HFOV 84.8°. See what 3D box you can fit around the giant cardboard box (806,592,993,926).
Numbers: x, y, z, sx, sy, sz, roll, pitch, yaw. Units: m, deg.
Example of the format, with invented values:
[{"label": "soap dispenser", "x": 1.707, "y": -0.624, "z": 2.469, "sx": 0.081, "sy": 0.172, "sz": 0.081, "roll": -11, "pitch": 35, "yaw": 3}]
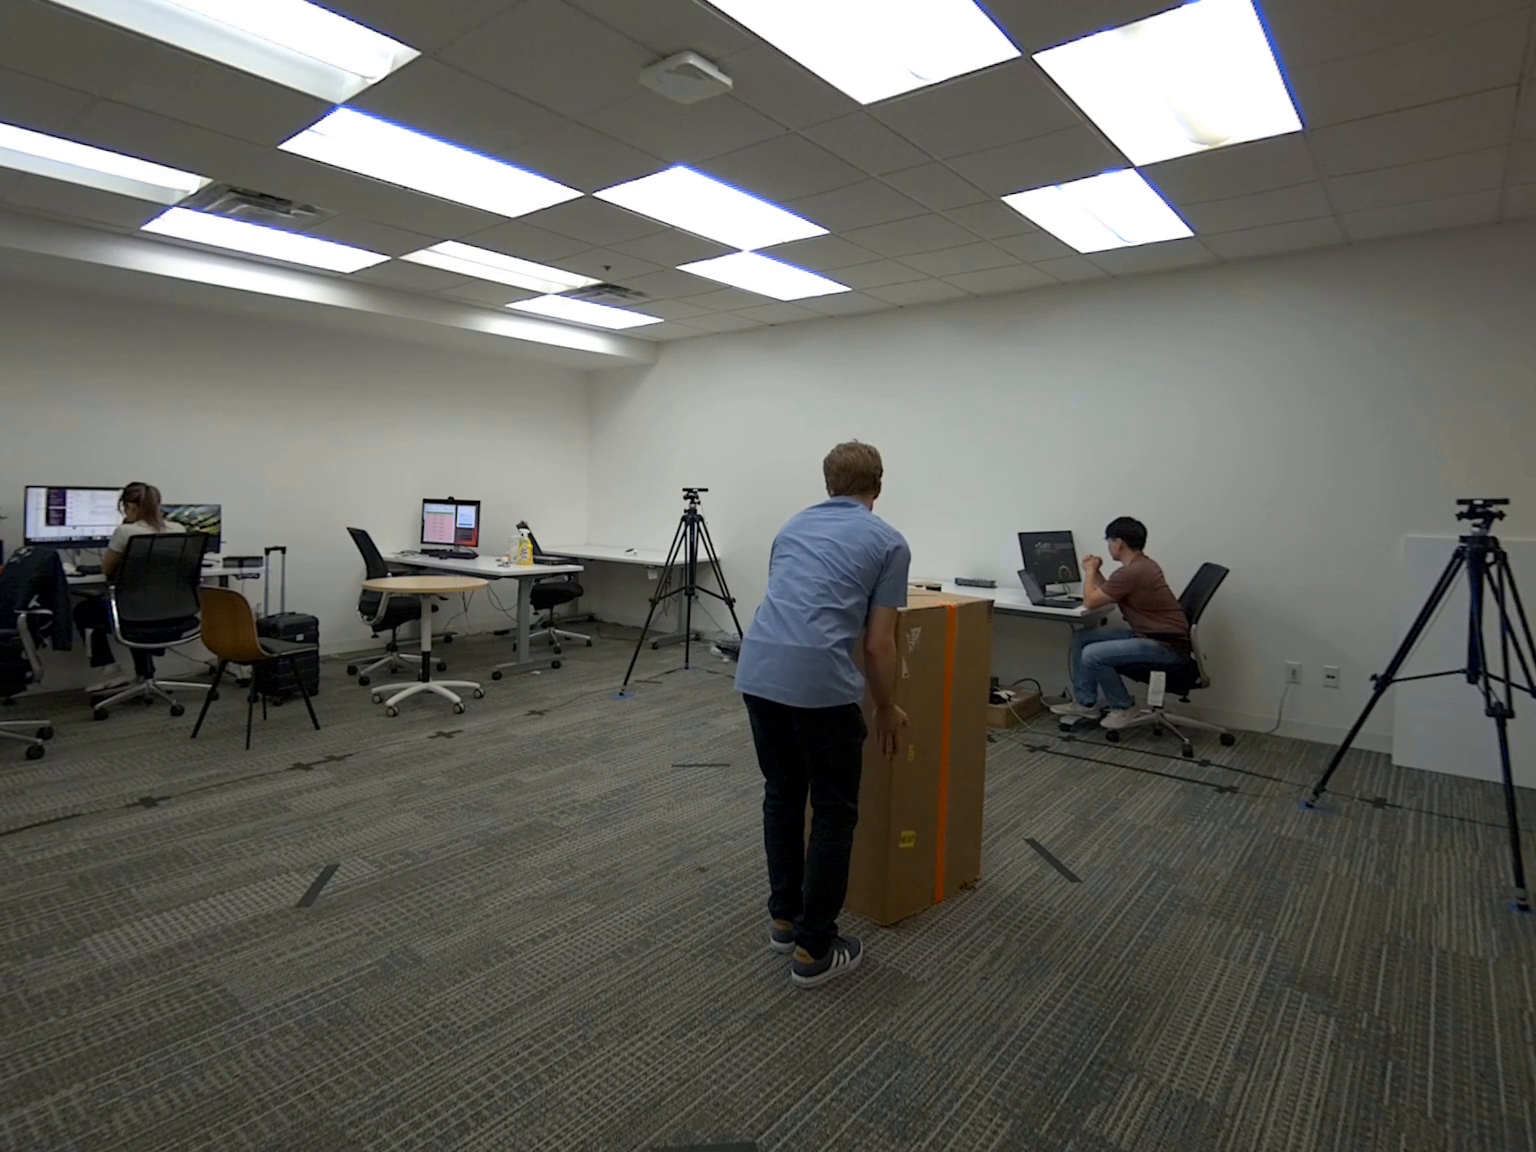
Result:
[{"label": "giant cardboard box", "x": 0.444, "y": 0.582, "z": 3.042, "sx": 0.560, "sy": 1.023, "sz": 0.441, "roll": -1, "pitch": 4, "yaw": -44}]
